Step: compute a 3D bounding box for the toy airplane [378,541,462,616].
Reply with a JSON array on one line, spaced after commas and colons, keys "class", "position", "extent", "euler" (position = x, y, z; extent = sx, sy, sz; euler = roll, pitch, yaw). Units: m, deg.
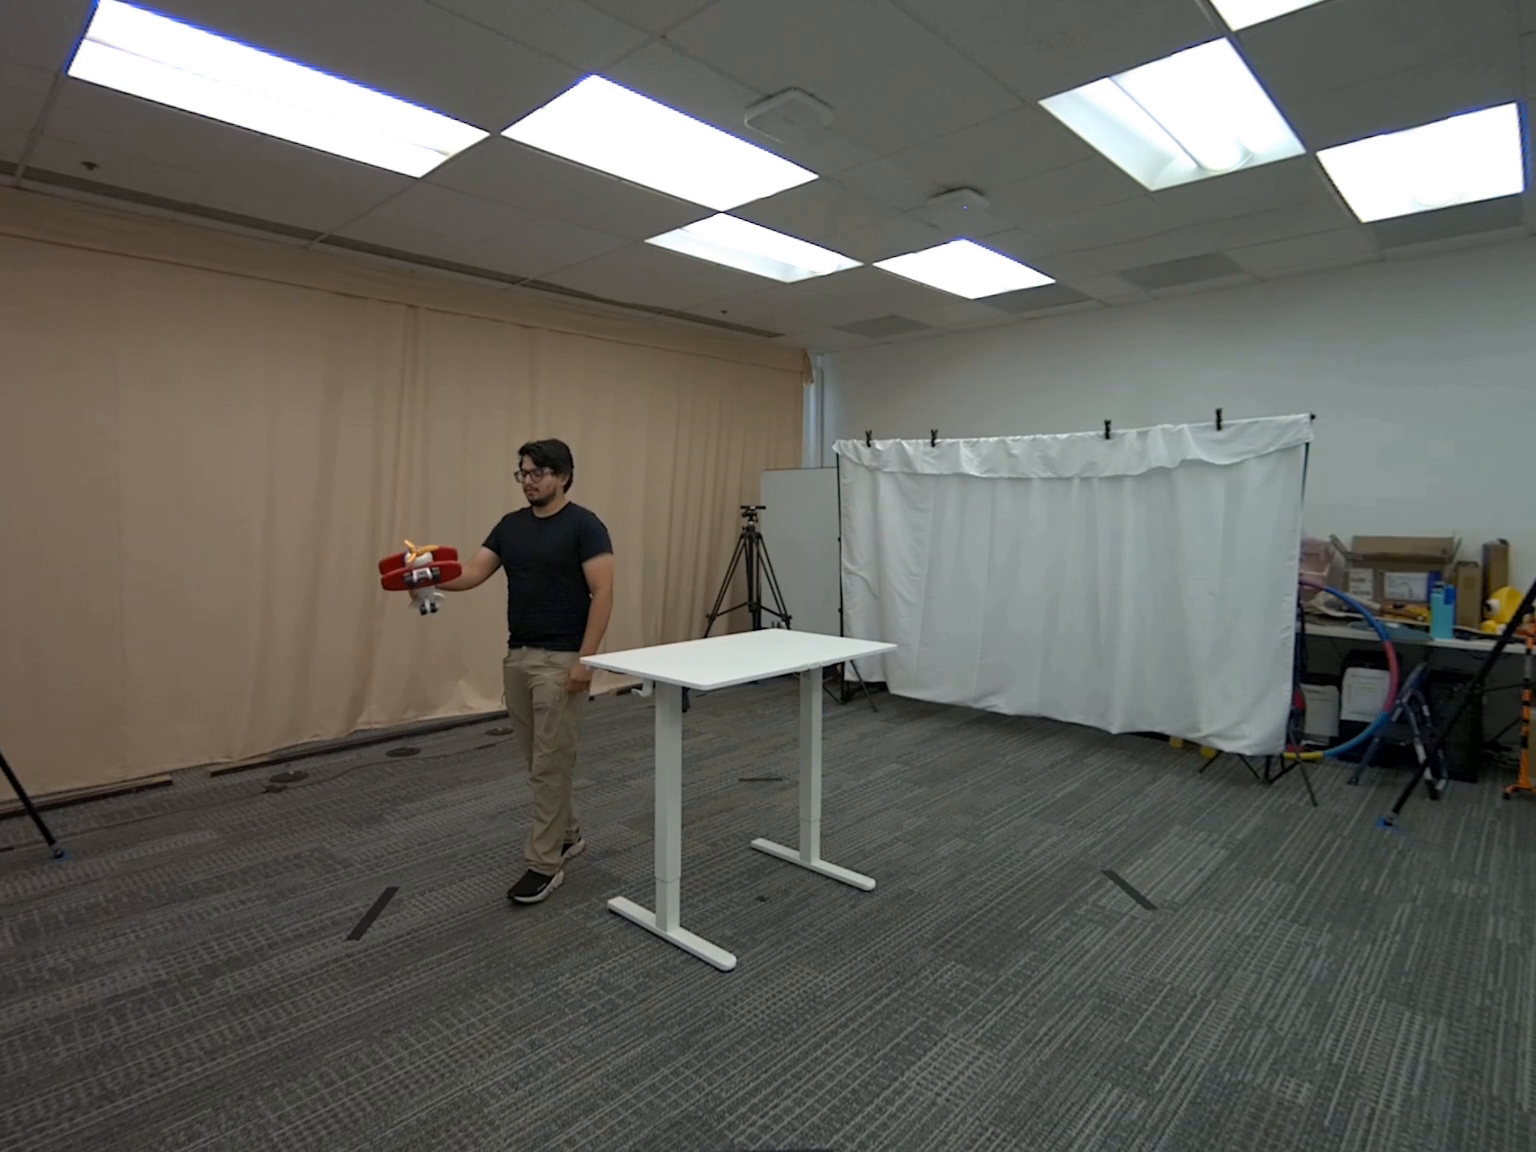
[{"class": "toy airplane", "position": [-1.160, 0.009, 2.806], "extent": [0.242, 0.160, 0.261], "euler": [7, -41, -44]}]
